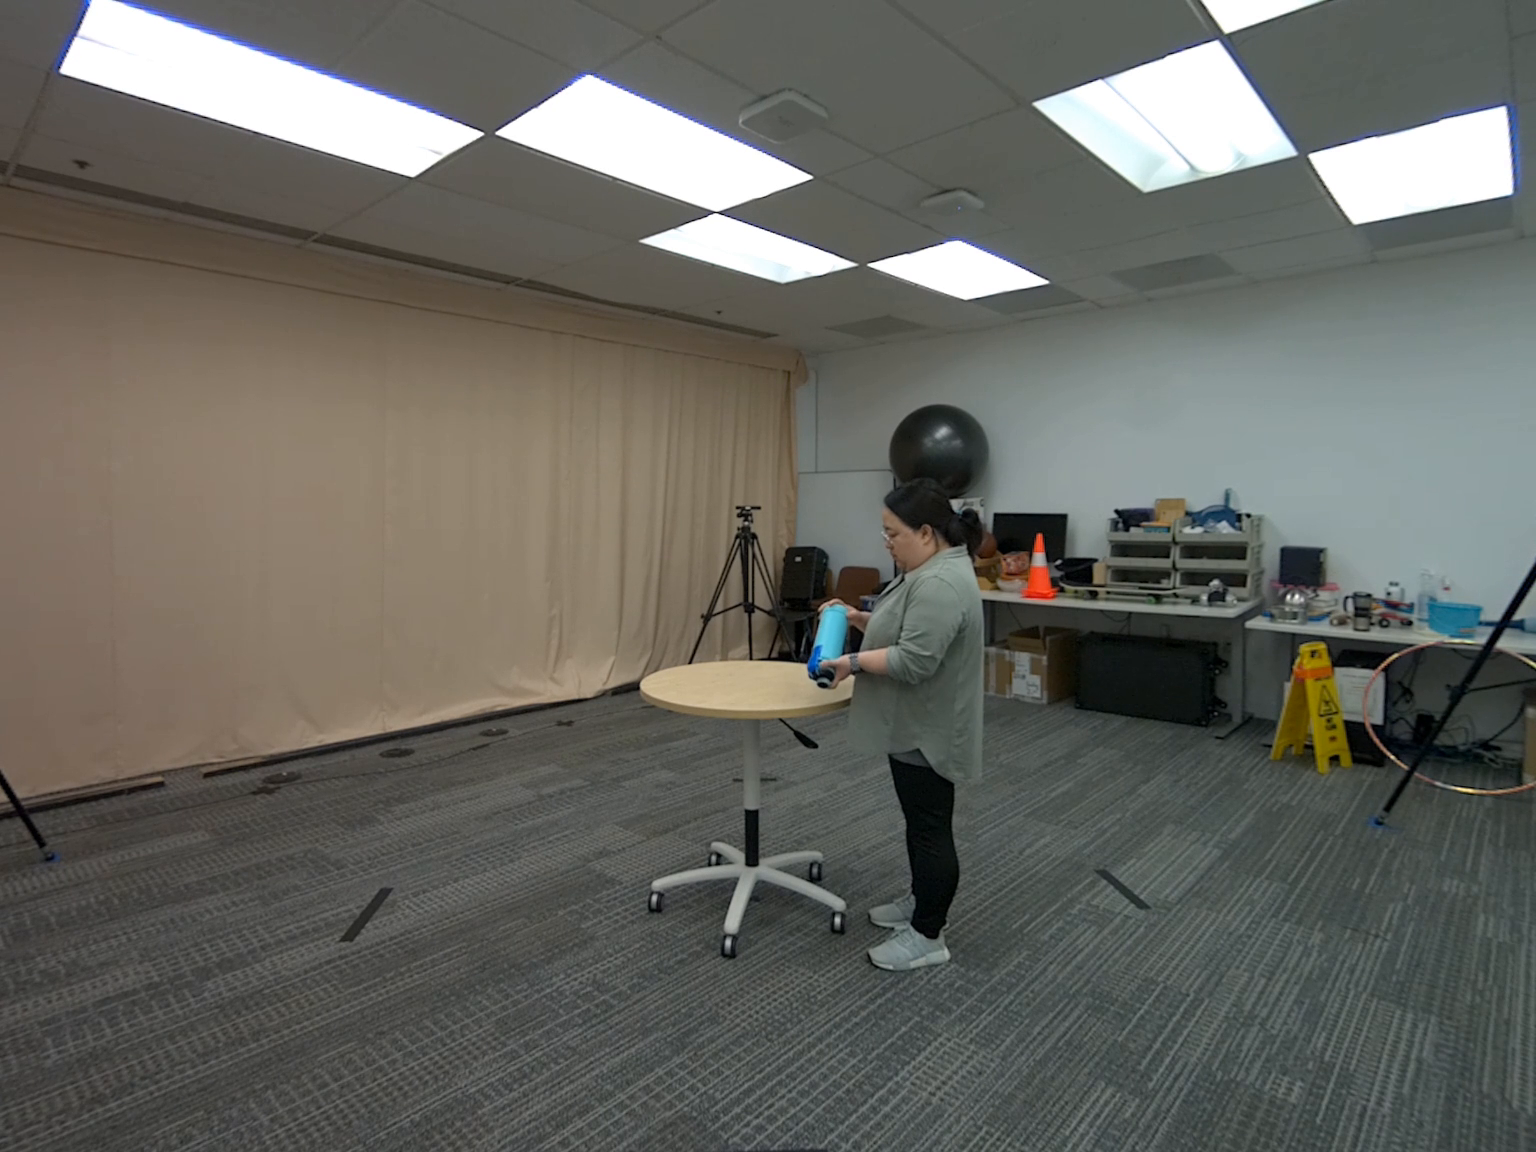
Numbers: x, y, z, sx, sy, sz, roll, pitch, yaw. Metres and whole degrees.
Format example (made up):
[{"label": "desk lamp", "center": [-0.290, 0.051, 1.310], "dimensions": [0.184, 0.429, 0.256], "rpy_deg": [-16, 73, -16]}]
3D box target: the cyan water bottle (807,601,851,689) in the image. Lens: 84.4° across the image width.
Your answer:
[{"label": "cyan water bottle", "center": [0.195, 0.222, 2.596], "dimensions": [0.095, 0.090, 0.284], "rpy_deg": [1, 44, 25]}]
